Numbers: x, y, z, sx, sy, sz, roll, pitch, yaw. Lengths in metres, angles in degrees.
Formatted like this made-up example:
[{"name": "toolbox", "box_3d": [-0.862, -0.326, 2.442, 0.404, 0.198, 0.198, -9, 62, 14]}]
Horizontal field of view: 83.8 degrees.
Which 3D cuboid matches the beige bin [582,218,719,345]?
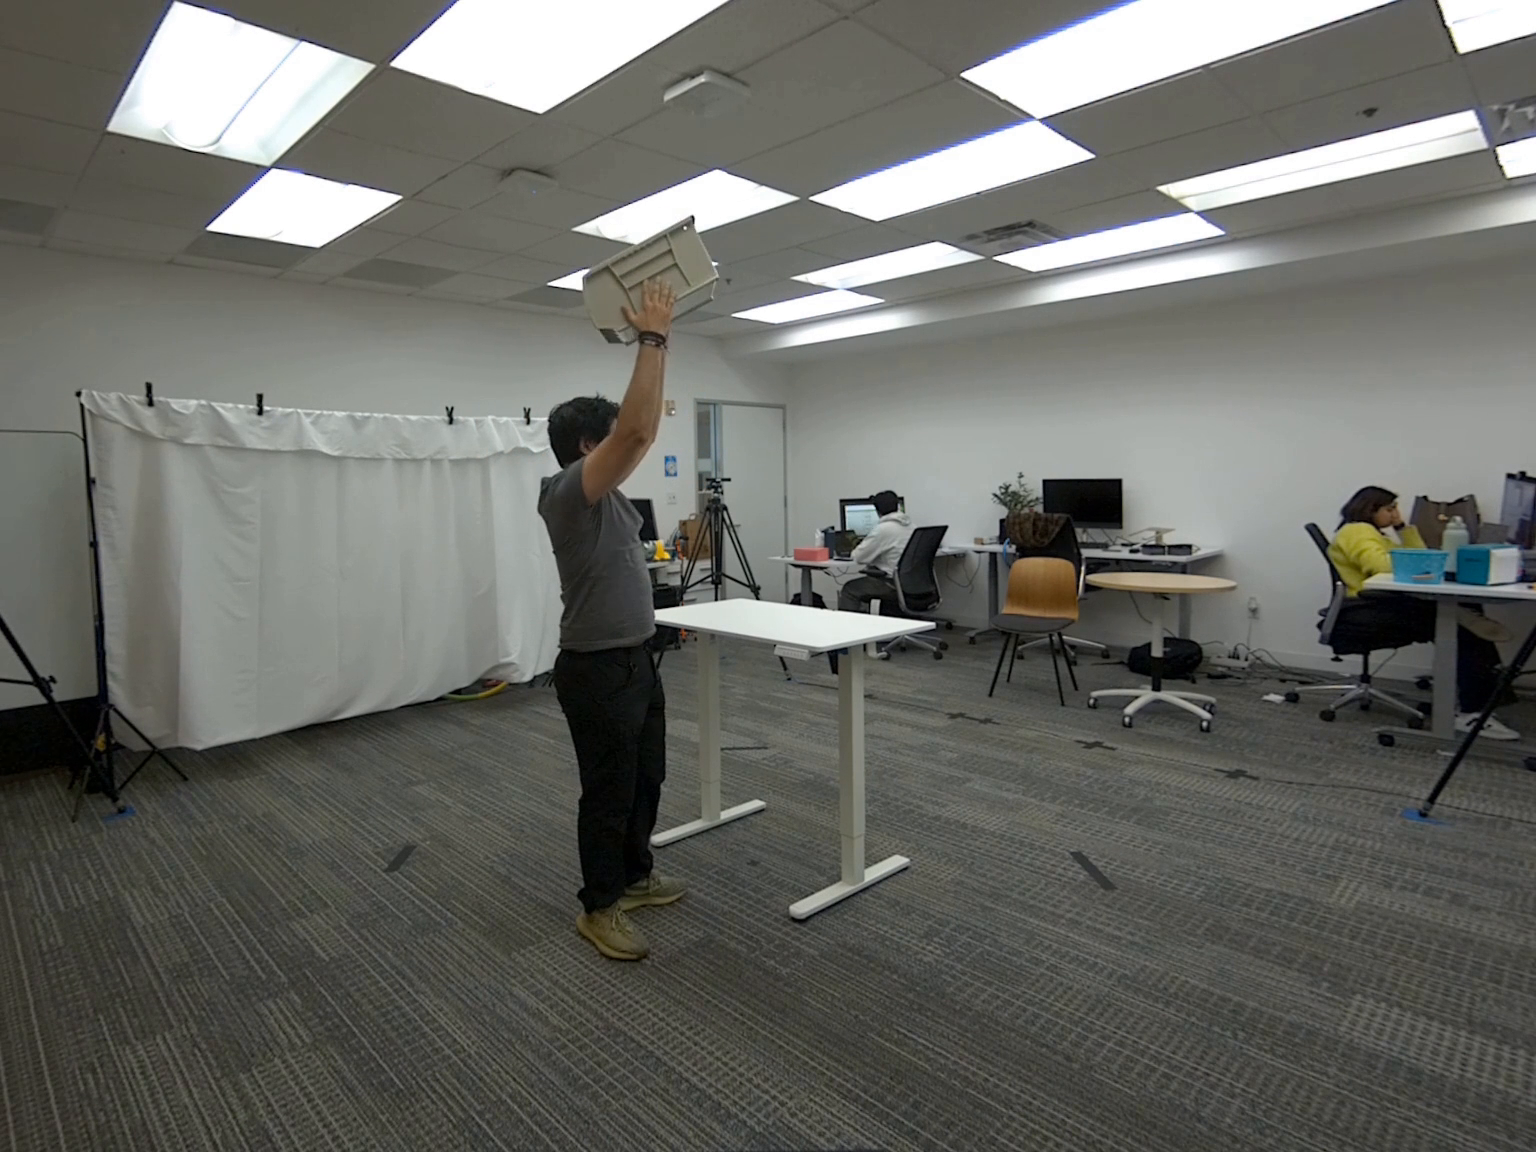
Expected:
[{"name": "beige bin", "box_3d": [-0.349, -0.839, 2.508, 0.377, 0.187, 0.427, -28, 10, 0]}]
